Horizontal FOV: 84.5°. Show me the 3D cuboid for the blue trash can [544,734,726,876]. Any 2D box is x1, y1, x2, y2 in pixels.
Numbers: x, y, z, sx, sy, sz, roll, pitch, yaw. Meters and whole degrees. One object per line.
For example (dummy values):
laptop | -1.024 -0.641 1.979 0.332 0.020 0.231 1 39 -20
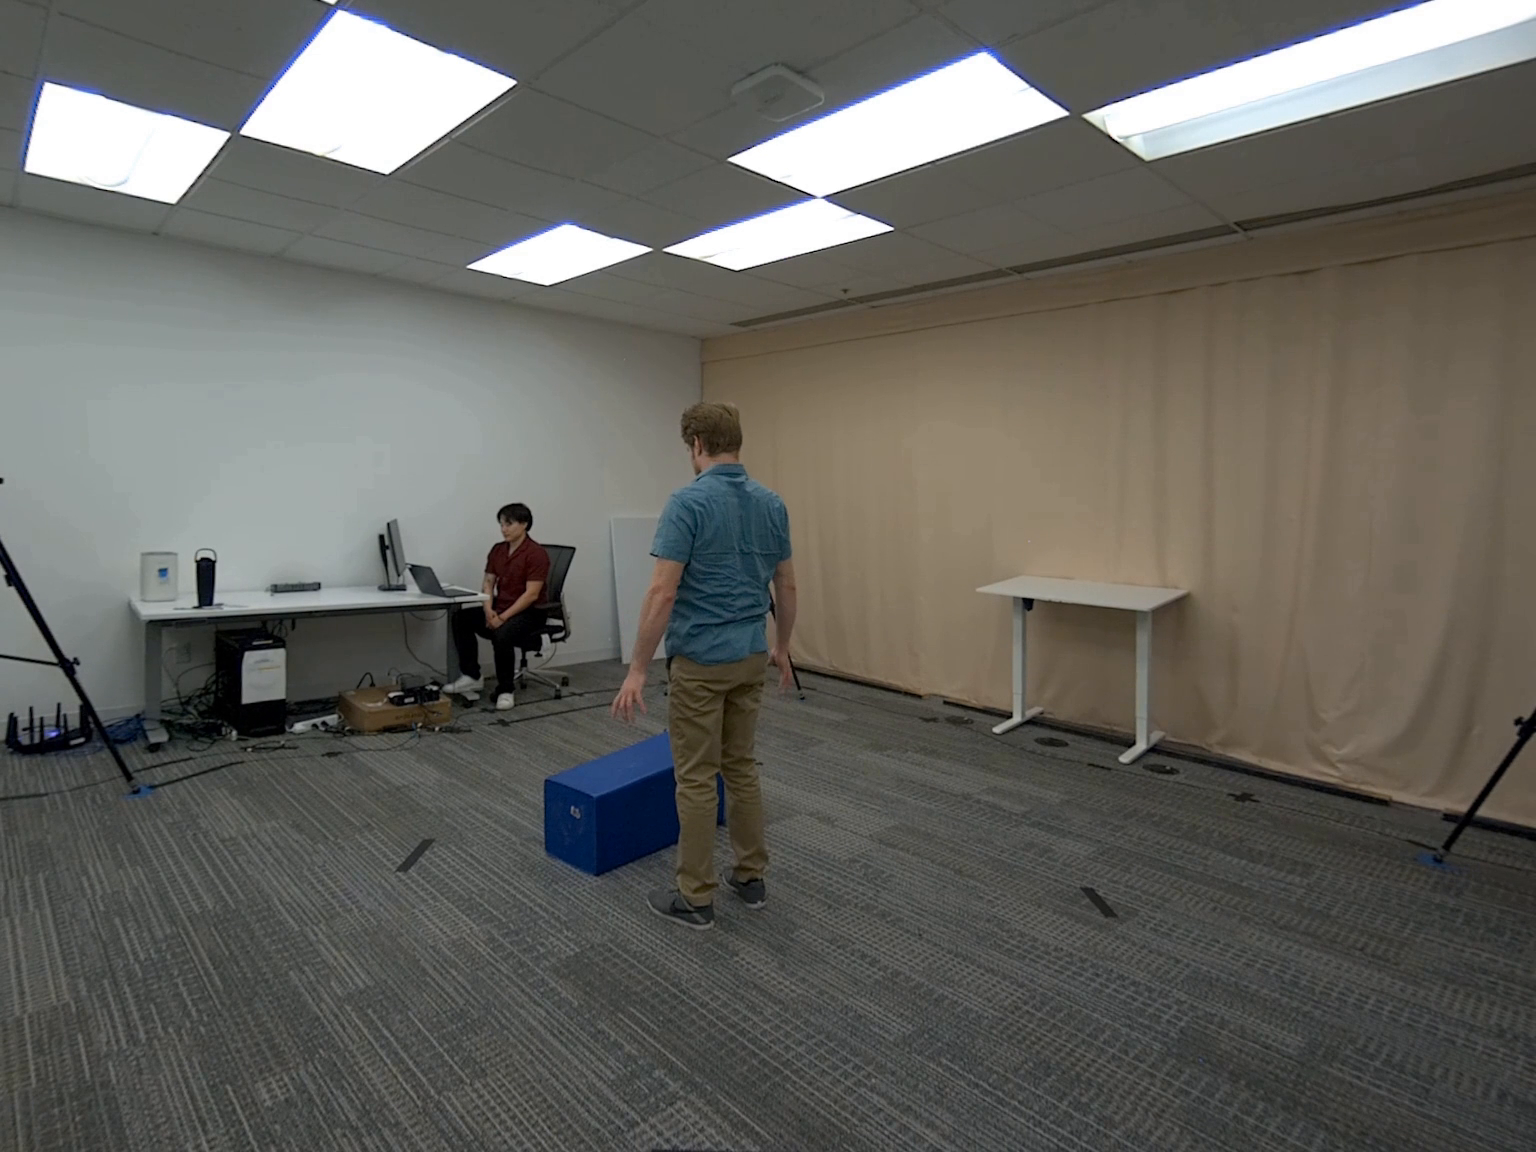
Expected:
blue trash can | -0.527 0.904 3.411 0.383 0.376 0.699 5 9 38
